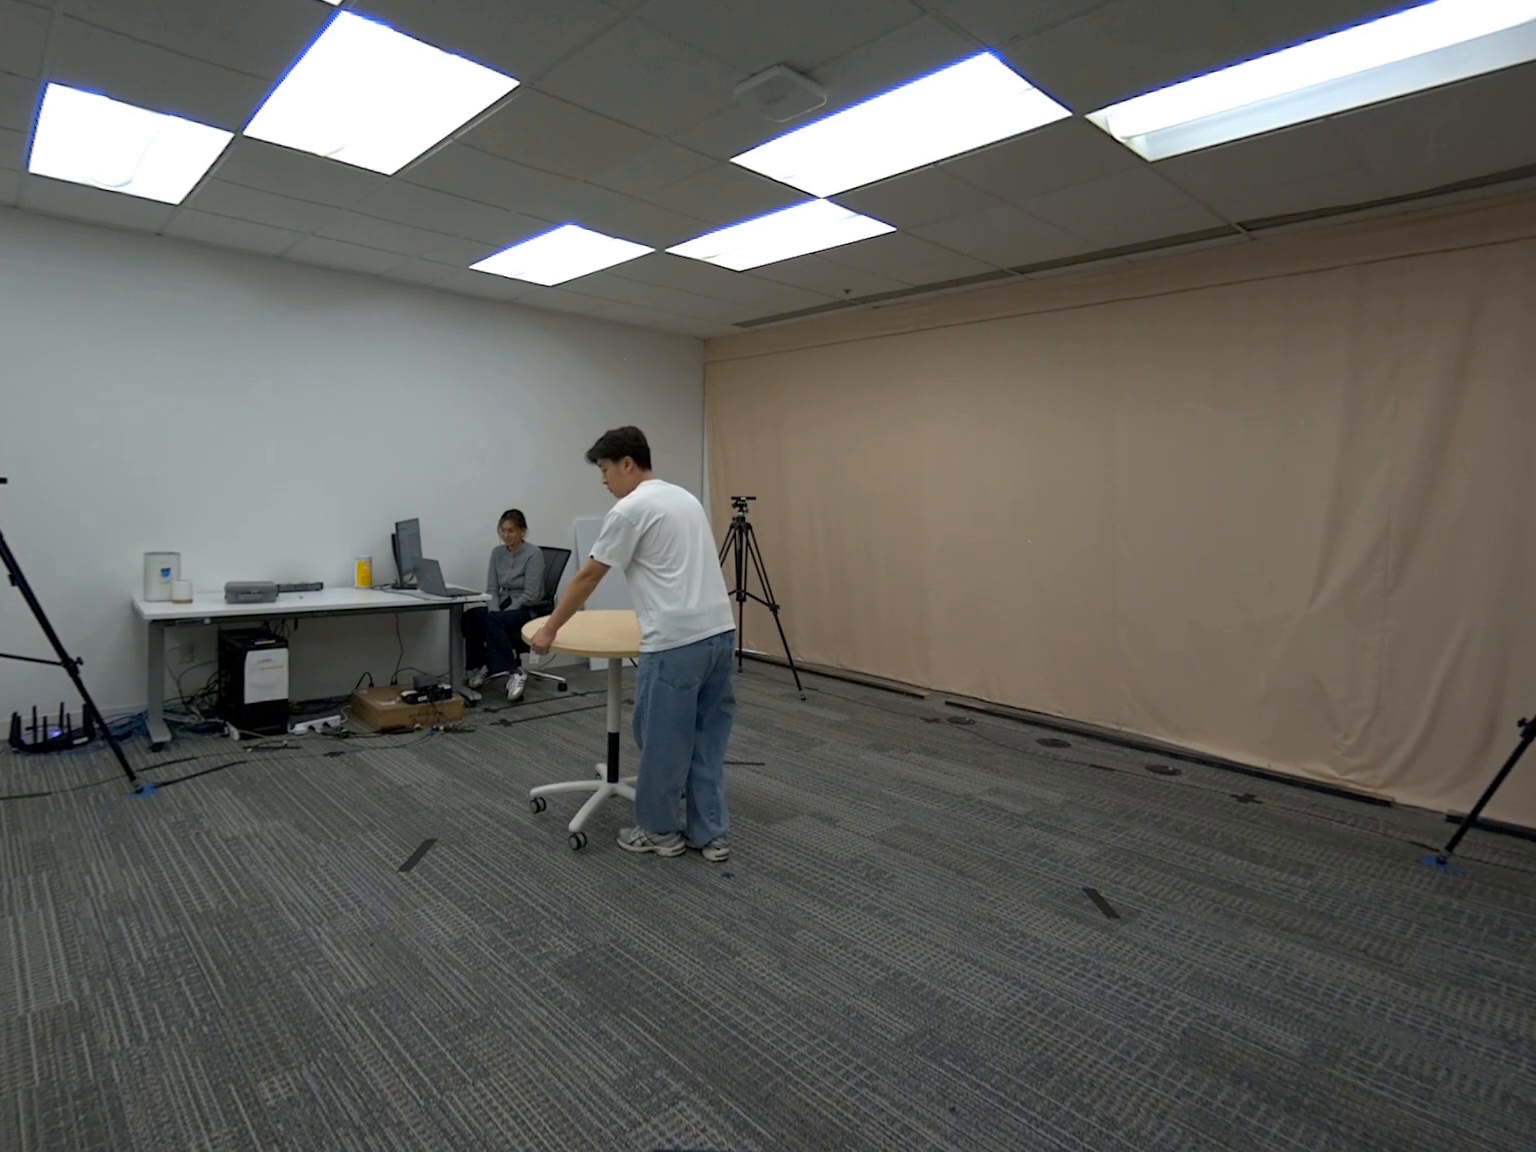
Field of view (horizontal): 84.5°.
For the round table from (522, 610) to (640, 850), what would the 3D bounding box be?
[{"bbox_3d":[-0.664,0.620,3.553,0.763,0.790,0.768,2,7,-2],"label":"round table"}]
